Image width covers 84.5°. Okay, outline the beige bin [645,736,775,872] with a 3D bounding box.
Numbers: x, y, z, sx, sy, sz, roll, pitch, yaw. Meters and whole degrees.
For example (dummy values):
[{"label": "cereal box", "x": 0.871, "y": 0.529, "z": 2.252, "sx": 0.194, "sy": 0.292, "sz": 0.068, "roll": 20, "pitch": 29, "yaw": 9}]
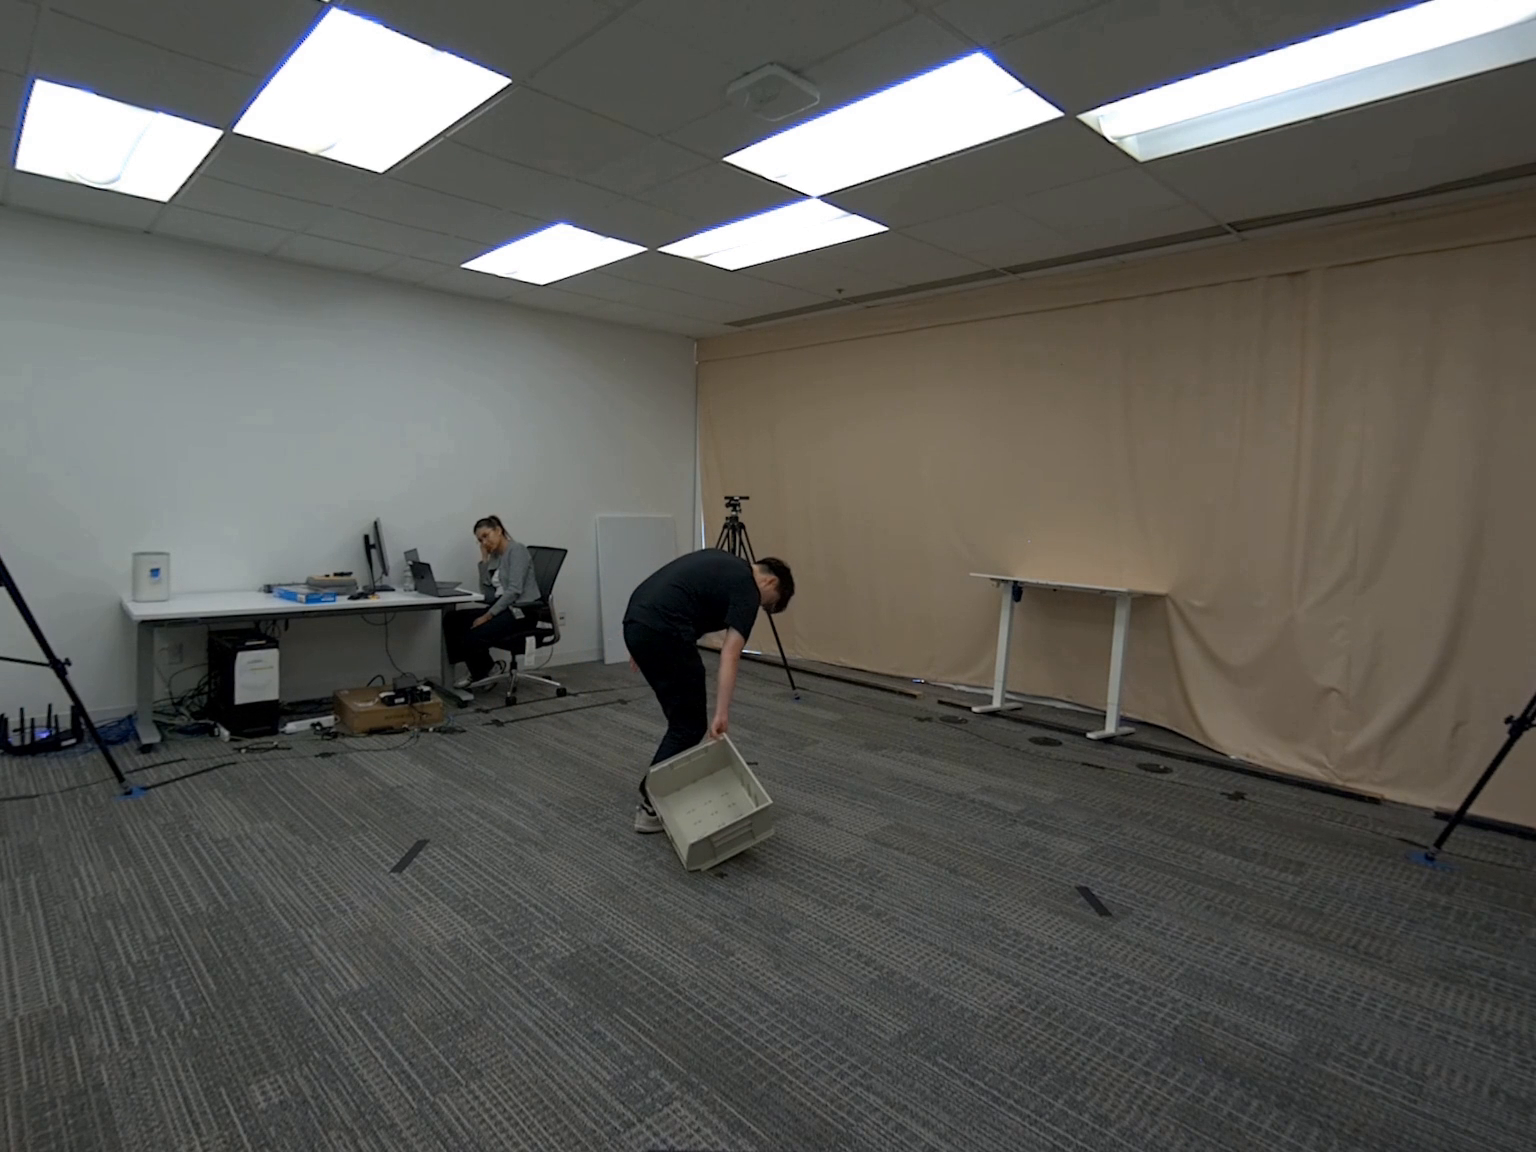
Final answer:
[{"label": "beige bin", "x": -0.236, "y": 0.885, "z": 3.278, "sx": 0.374, "sy": 0.184, "sz": 0.436, "roll": -22, "pitch": 36, "yaw": -19}]
